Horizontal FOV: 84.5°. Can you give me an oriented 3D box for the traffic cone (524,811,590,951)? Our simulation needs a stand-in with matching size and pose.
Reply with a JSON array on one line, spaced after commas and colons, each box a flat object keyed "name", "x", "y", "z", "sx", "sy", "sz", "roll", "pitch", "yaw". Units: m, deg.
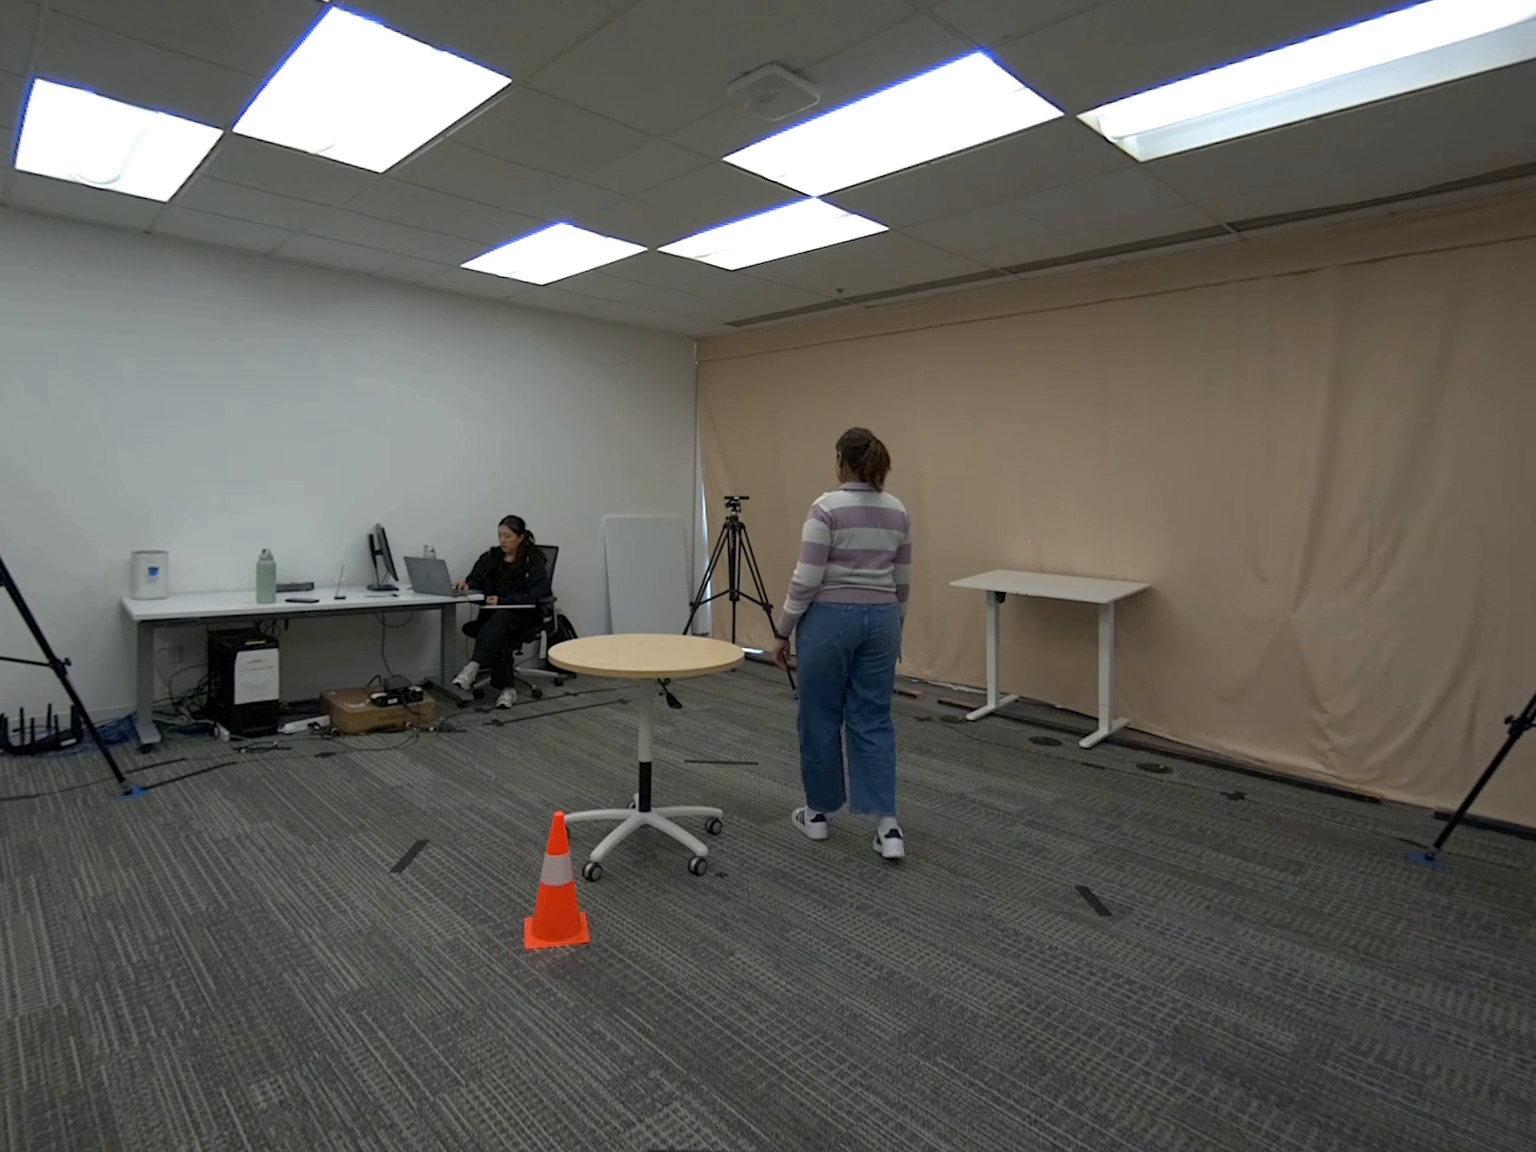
[{"name": "traffic cone", "x": -0.674, "y": 0.950, "z": 2.672, "sx": 0.203, "sy": 0.383, "sz": 0.206, "roll": 1, "pitch": 3, "yaw": -14}]
